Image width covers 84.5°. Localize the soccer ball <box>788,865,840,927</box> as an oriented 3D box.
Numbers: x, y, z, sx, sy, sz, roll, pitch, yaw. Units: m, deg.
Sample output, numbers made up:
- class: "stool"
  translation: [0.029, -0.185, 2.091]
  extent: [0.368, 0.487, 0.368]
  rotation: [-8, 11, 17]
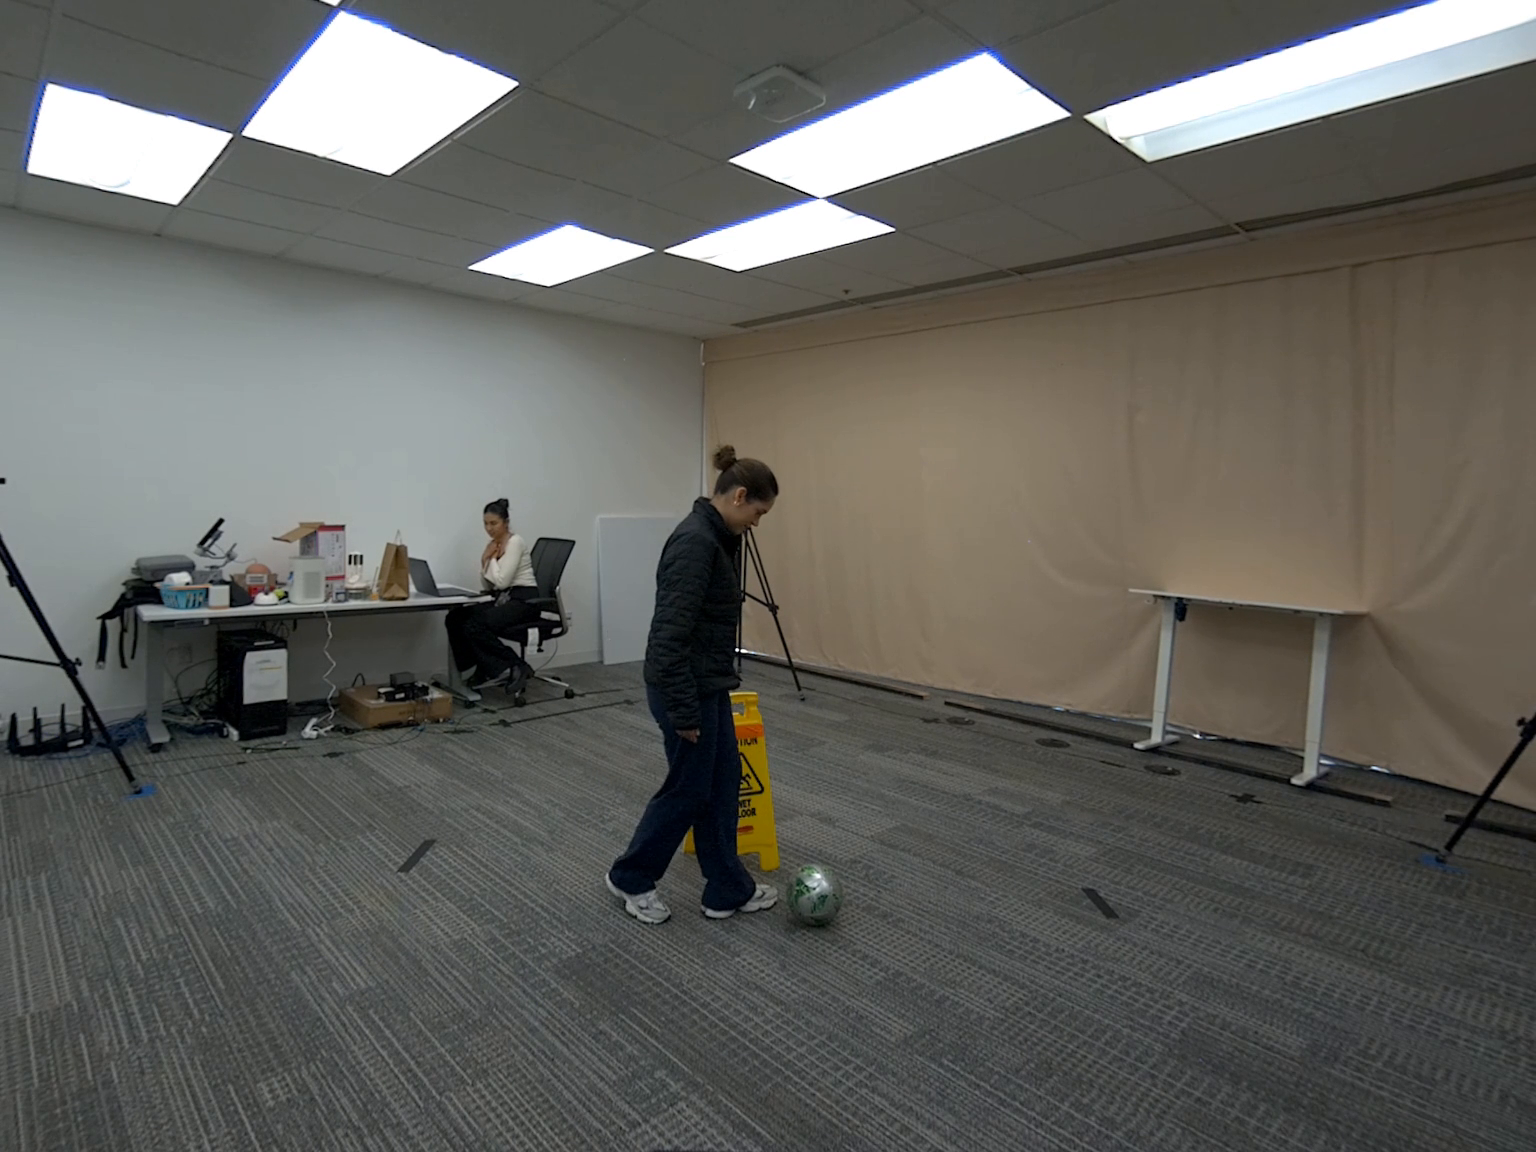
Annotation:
- class: "soccer ball"
  translation: [0.147, 1.051, 2.761]
  extent: [0.187, 0.187, 0.188]
  rotation: [1, 4, -1]
